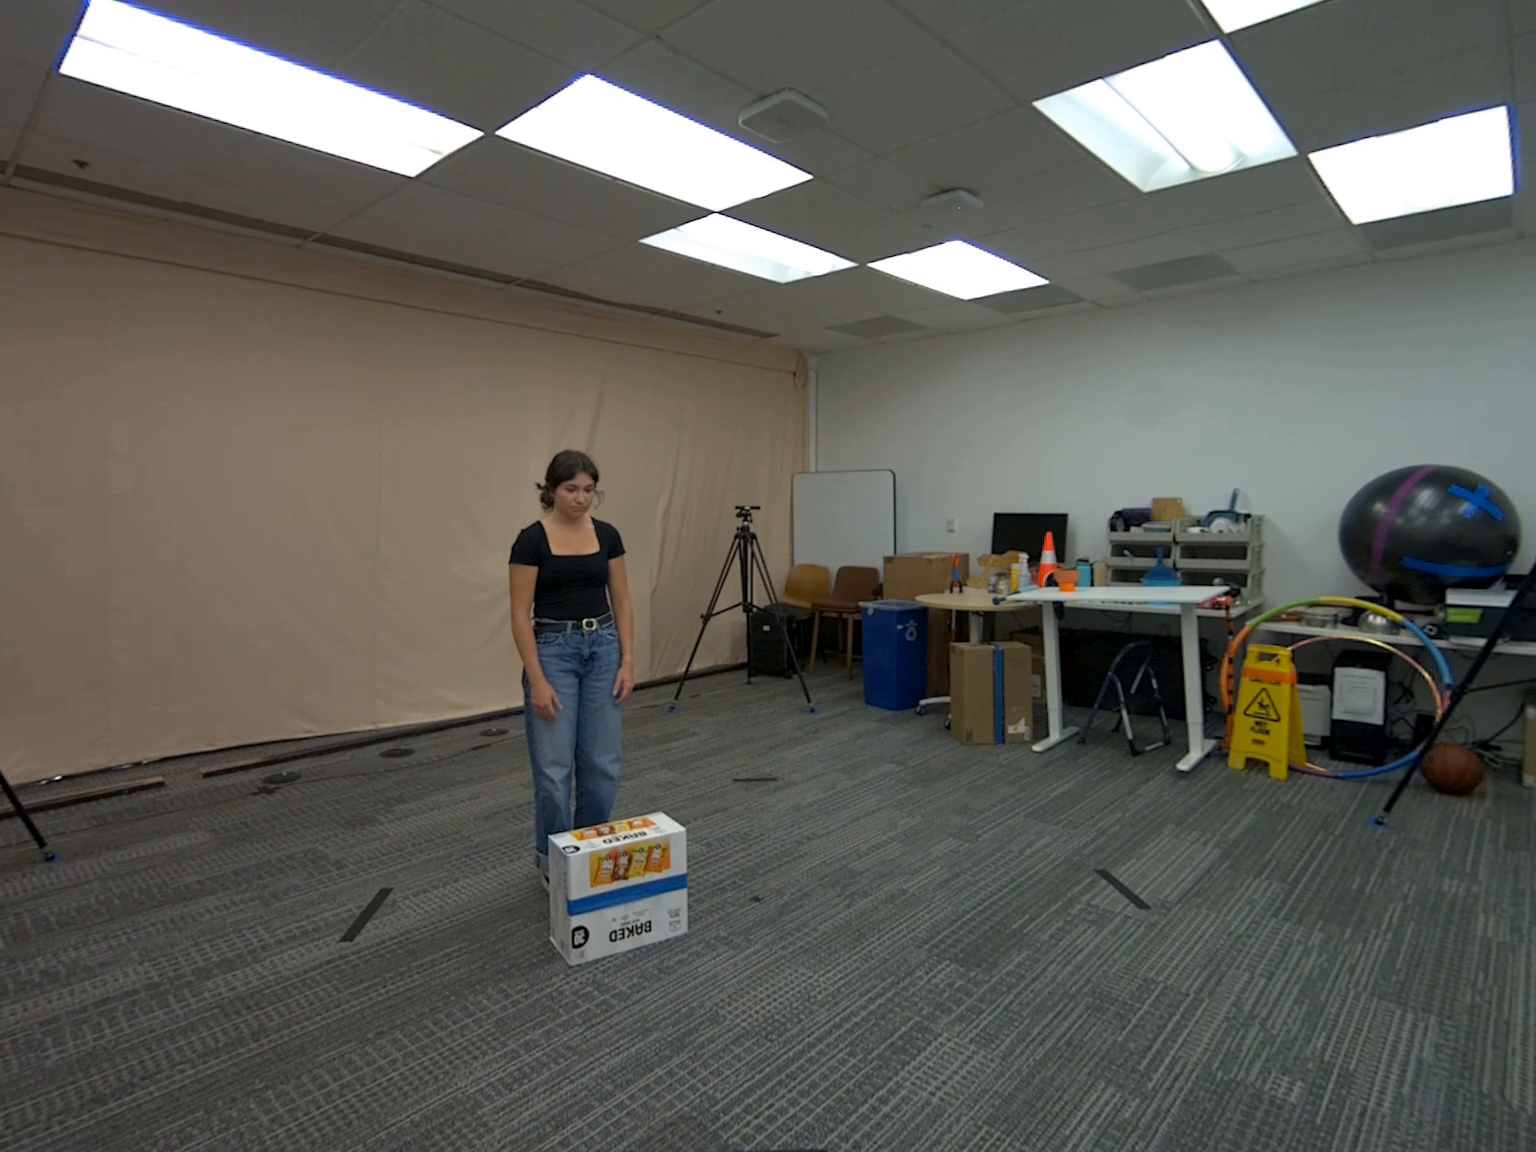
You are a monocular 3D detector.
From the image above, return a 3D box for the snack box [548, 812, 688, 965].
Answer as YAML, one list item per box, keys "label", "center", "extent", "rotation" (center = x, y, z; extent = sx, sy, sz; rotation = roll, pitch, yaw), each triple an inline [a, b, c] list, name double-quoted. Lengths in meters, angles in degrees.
- label: "snack box"
  center: [-0.481, 1.001, 2.723]
  extent: [0.394, 0.340, 0.211]
  rotation: [-3, 2, -31]
